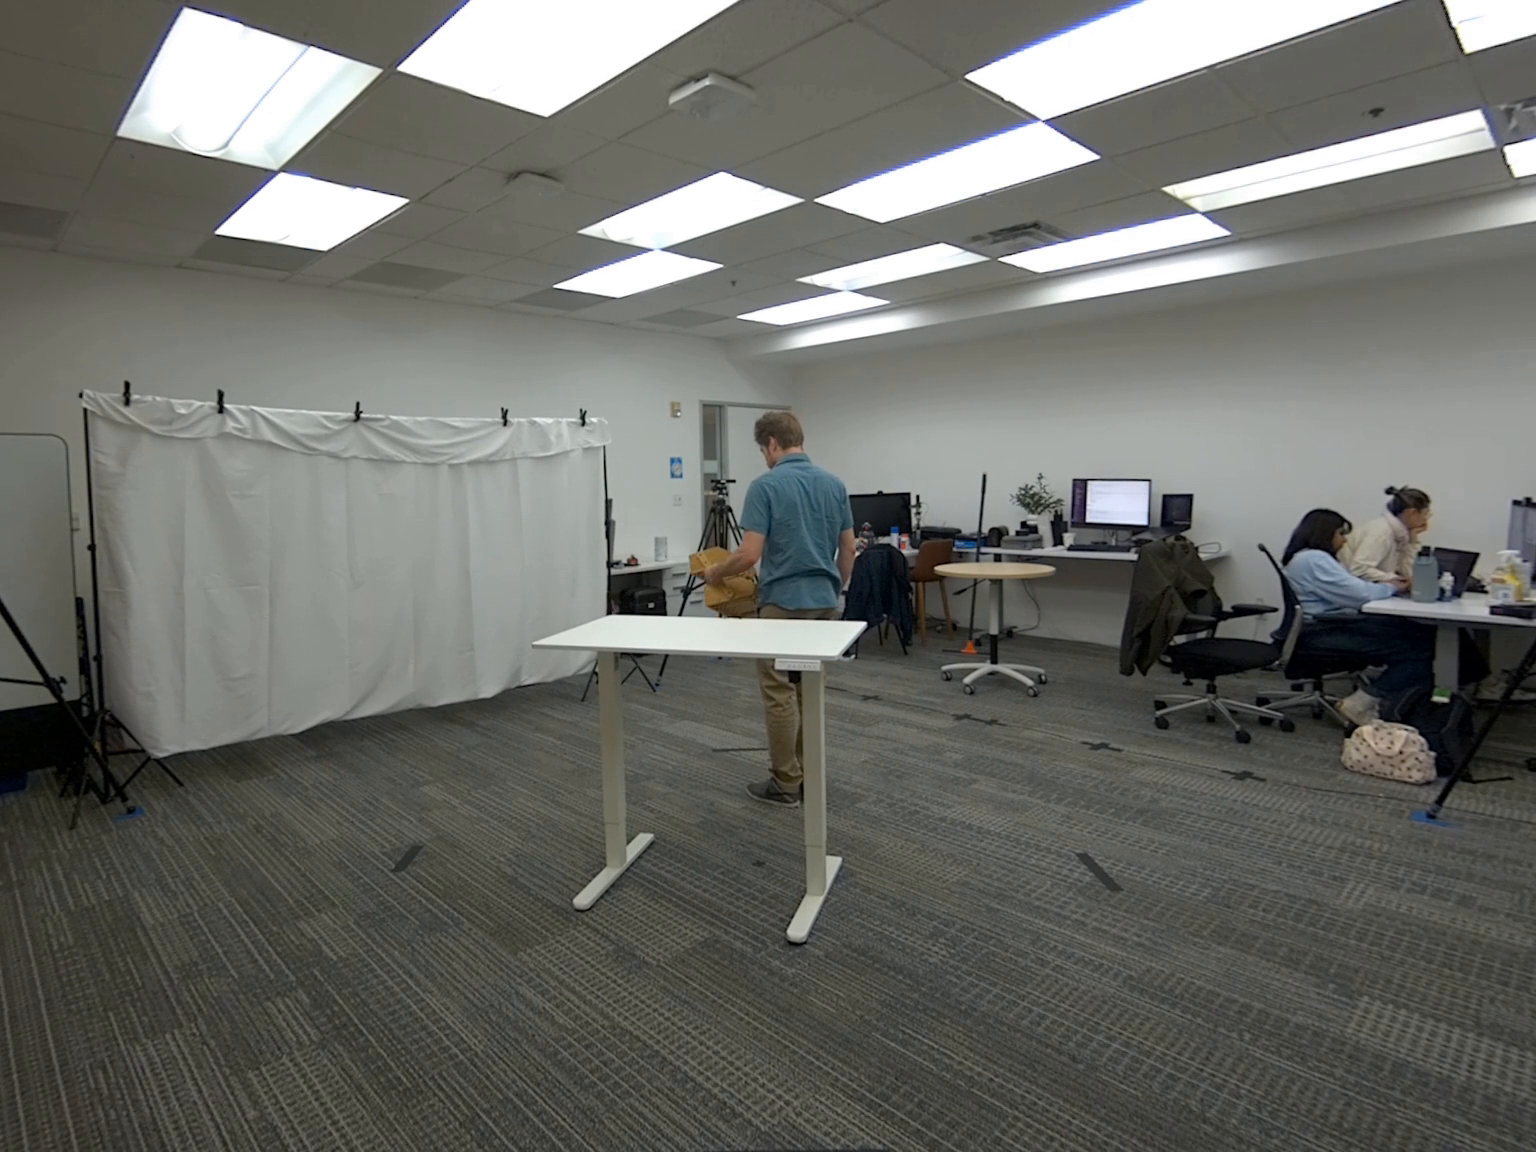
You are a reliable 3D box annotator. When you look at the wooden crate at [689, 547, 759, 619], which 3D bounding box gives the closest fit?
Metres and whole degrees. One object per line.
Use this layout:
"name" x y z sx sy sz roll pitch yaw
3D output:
"wooden crate" -0.165 0.021 3.959 0.305 0.278 0.315 -15 -17 14
